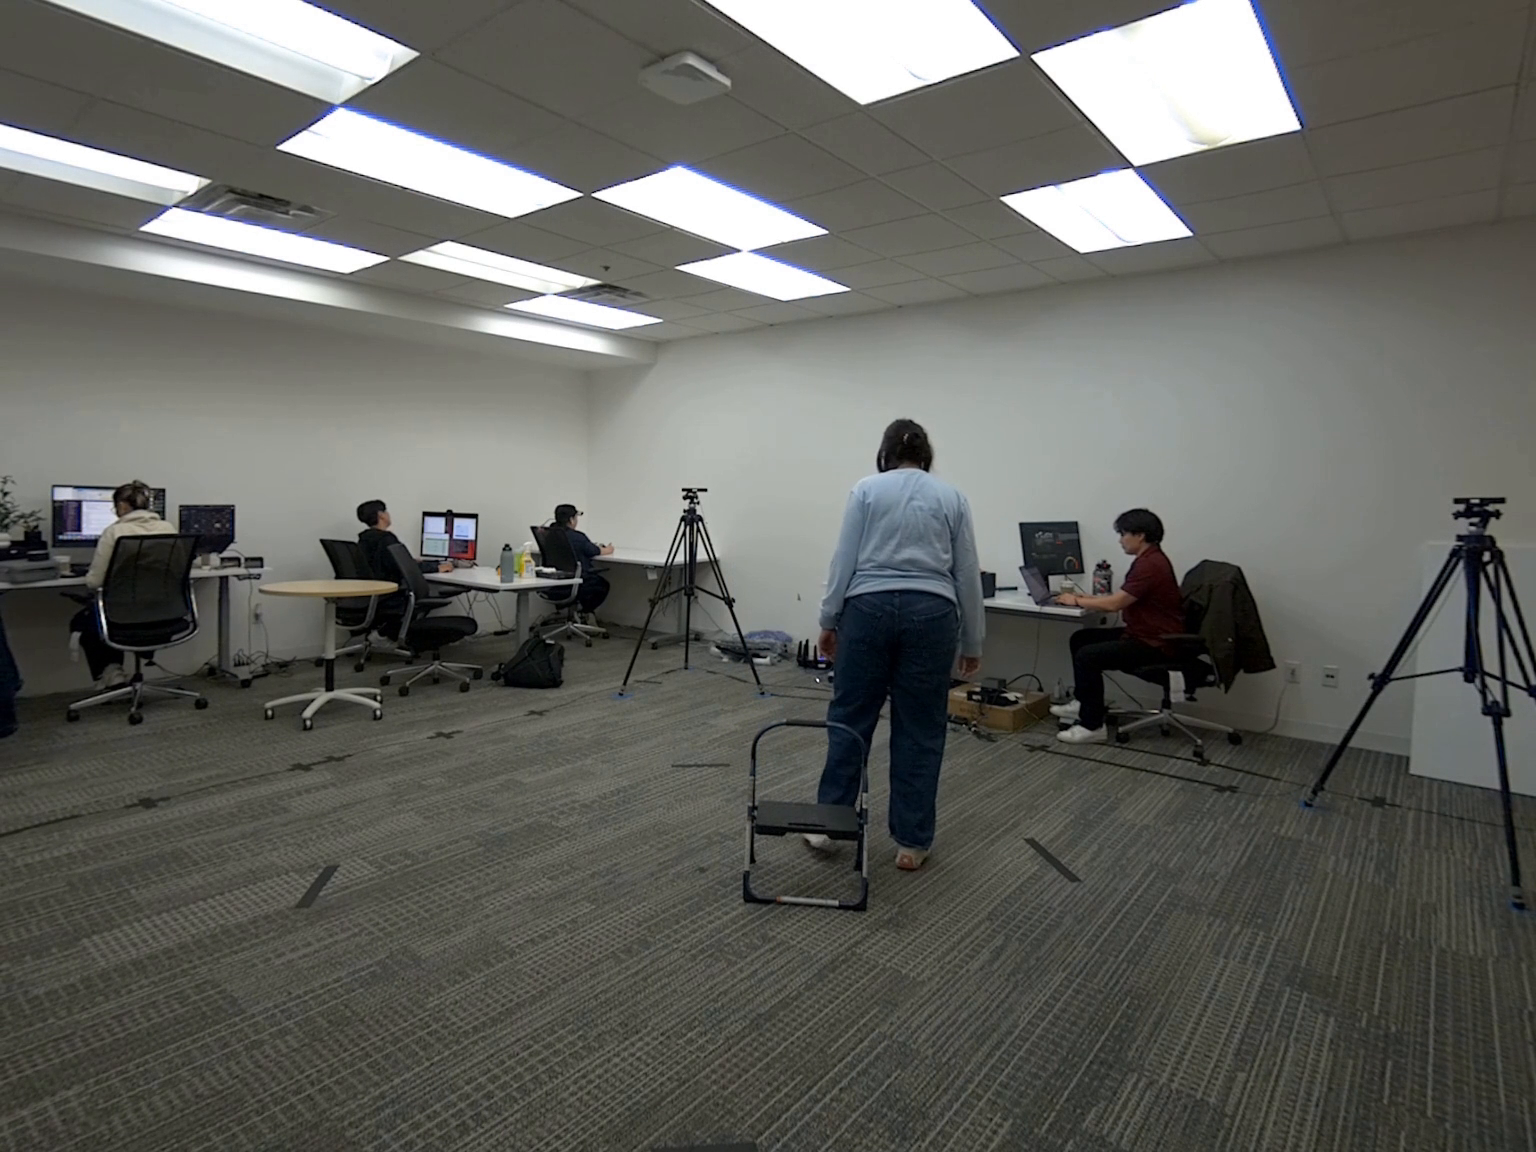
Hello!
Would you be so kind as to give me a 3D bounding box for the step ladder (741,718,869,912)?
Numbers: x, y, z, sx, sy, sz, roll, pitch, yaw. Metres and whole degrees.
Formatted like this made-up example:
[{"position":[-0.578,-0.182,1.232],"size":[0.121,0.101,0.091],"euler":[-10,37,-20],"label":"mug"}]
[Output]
[{"position":[0.130,0.786,2.989],"size":[0.433,0.604,0.348],"euler":[2,3,4],"label":"step ladder"}]
